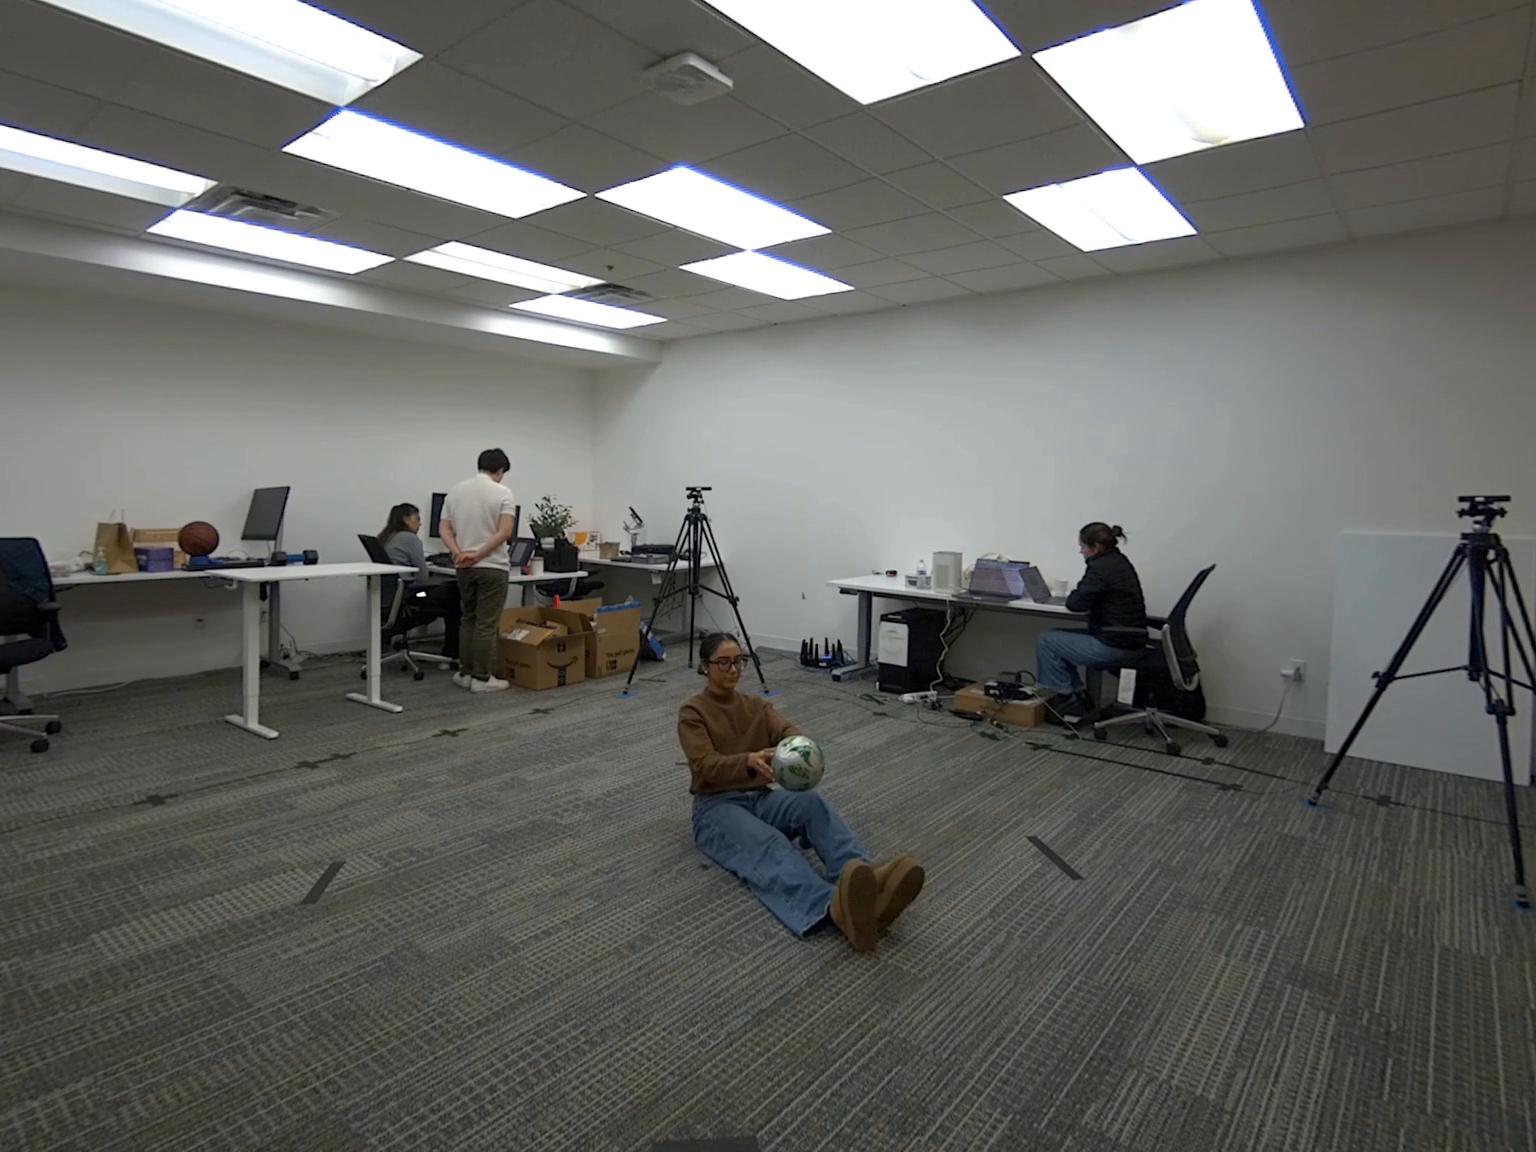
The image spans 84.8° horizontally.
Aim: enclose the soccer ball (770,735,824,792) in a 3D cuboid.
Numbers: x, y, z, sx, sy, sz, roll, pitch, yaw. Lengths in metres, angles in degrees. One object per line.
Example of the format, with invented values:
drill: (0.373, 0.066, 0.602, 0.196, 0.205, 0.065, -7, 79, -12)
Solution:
soccer ball: (0.092, 0.644, 2.932, 0.187, 0.187, 0.188, 1, 4, -2)
